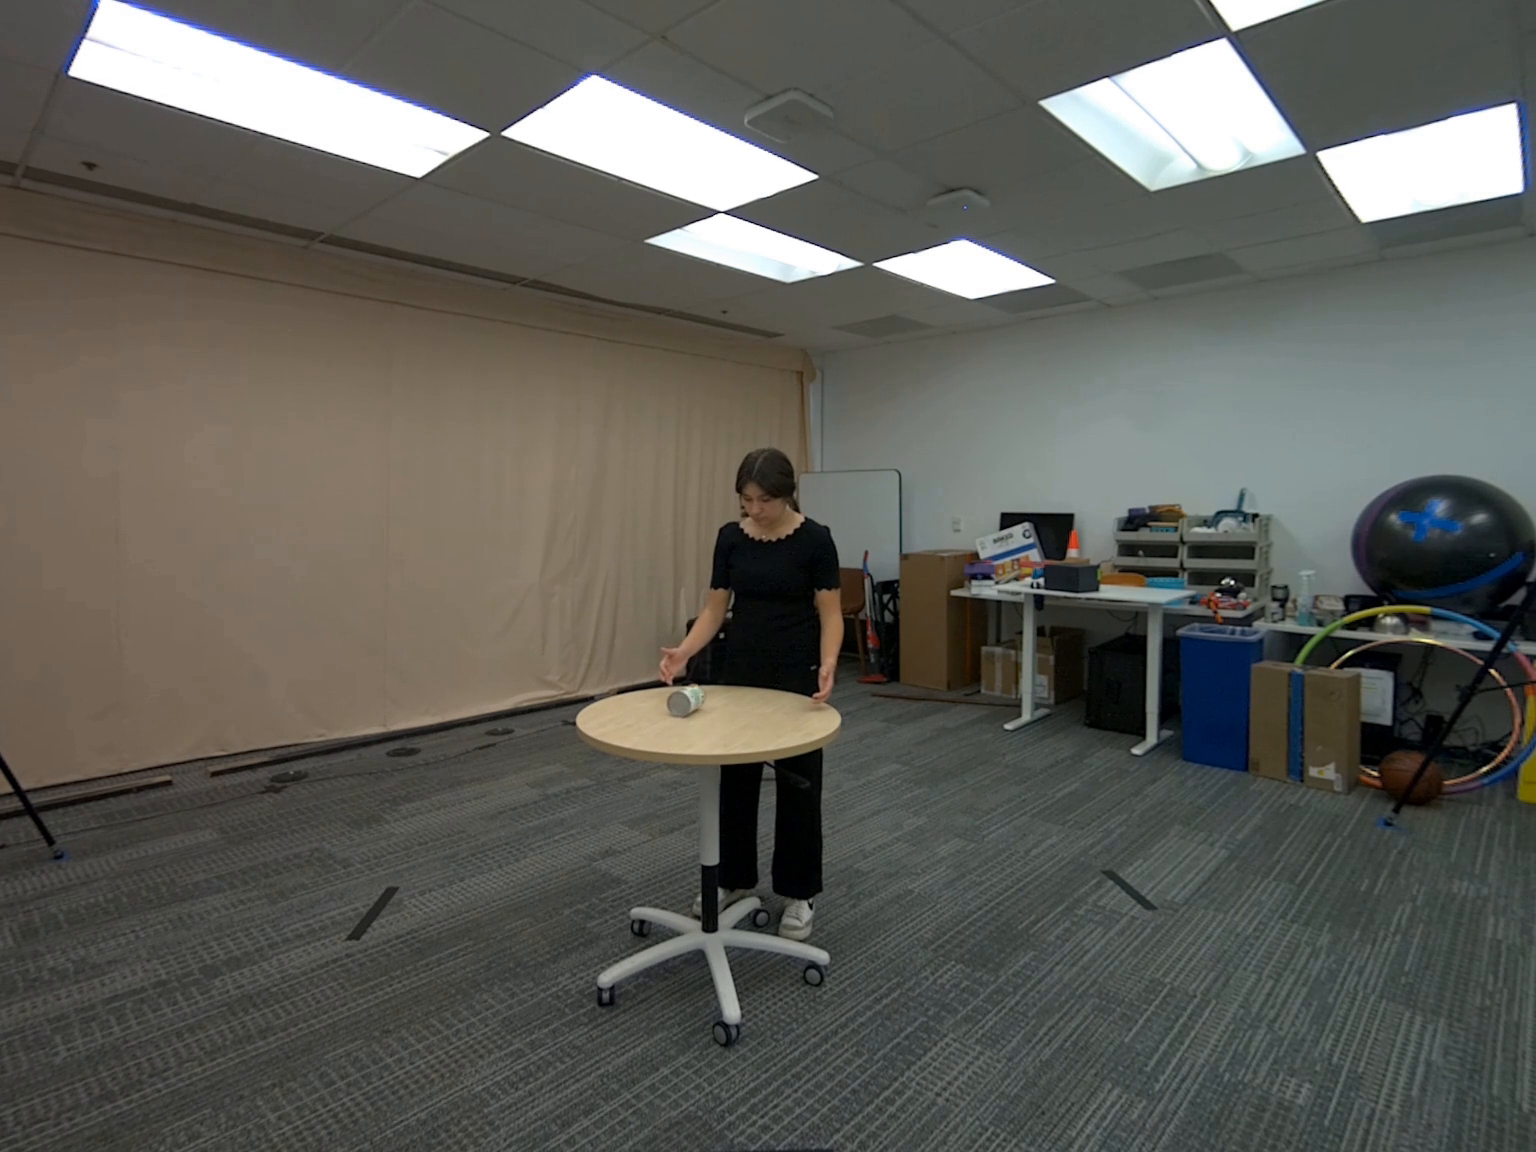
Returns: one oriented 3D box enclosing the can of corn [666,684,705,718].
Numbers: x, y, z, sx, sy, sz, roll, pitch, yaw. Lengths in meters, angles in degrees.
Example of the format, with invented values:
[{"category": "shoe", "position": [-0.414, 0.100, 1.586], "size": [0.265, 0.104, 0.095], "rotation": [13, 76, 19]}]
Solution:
[{"category": "can of corn", "position": [-0.247, 0.370, 2.464], "size": [0.074, 0.074, 0.110], "rotation": [0, -2, 2]}]
